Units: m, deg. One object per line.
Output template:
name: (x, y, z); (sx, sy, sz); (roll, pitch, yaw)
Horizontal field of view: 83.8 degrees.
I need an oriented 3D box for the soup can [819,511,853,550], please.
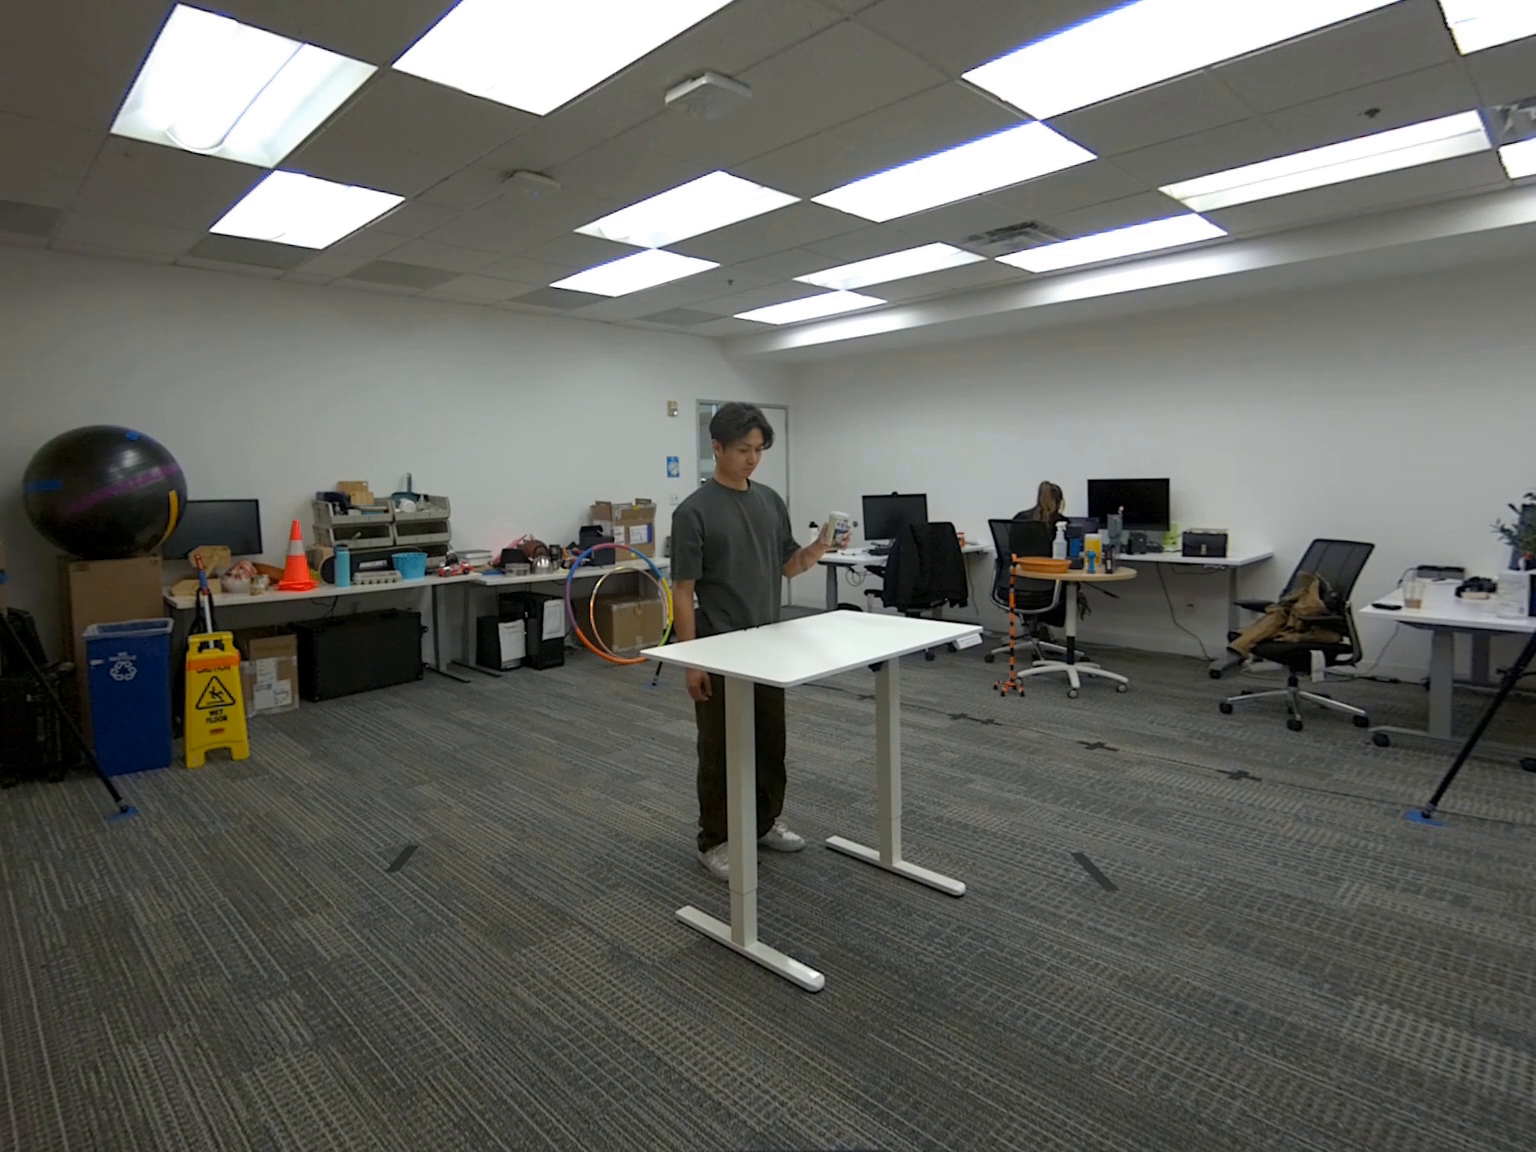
soup can: (0.229, -0.159, 2.914); (0.067, 0.120, 0.068); (9, 10, -3)
